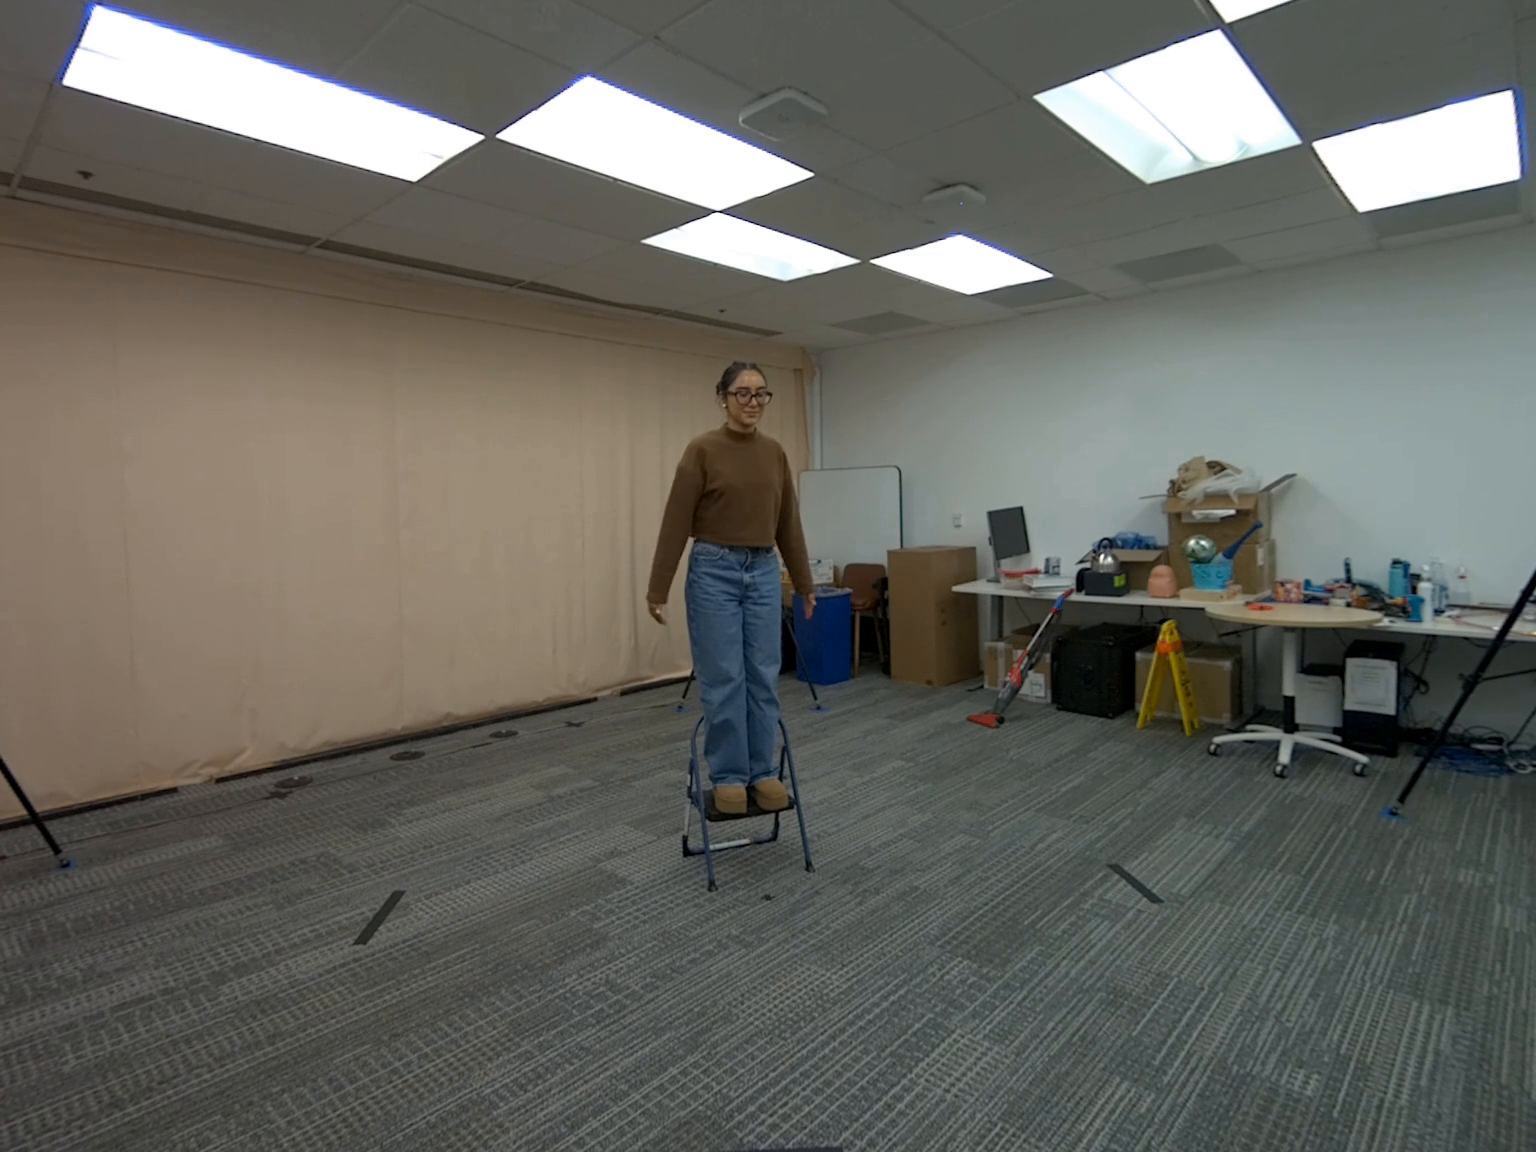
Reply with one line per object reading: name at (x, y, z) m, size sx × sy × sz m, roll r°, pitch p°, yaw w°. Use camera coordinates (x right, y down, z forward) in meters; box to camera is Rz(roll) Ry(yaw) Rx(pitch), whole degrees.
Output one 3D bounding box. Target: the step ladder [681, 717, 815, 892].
step ladder at (-0.088, 0.819, 3.261) m, size 0.421 × 0.605 × 0.358 m, roll -3°, pitch 4°, yaw -23°
